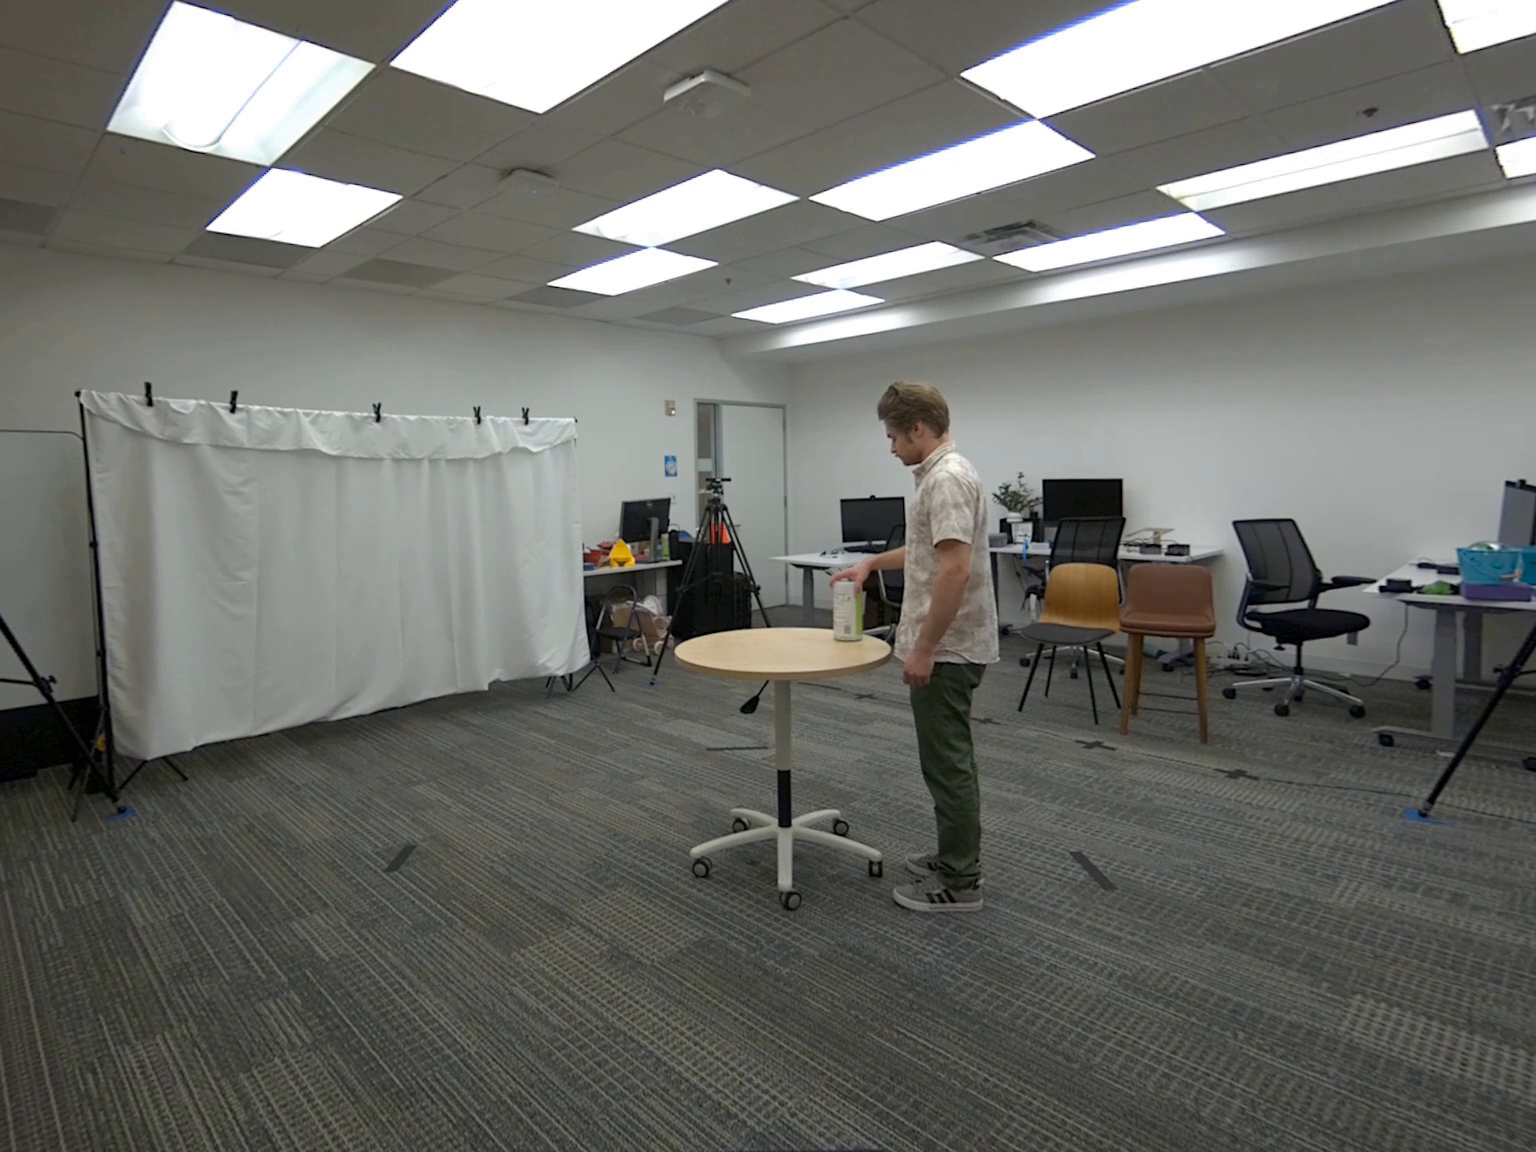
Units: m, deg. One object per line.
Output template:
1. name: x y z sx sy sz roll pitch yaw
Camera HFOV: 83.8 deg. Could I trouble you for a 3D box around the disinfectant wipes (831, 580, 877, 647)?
1. disinfectant wipes: 0.299 0.126 3.154 0.118 0.217 0.118 0 4 -2
